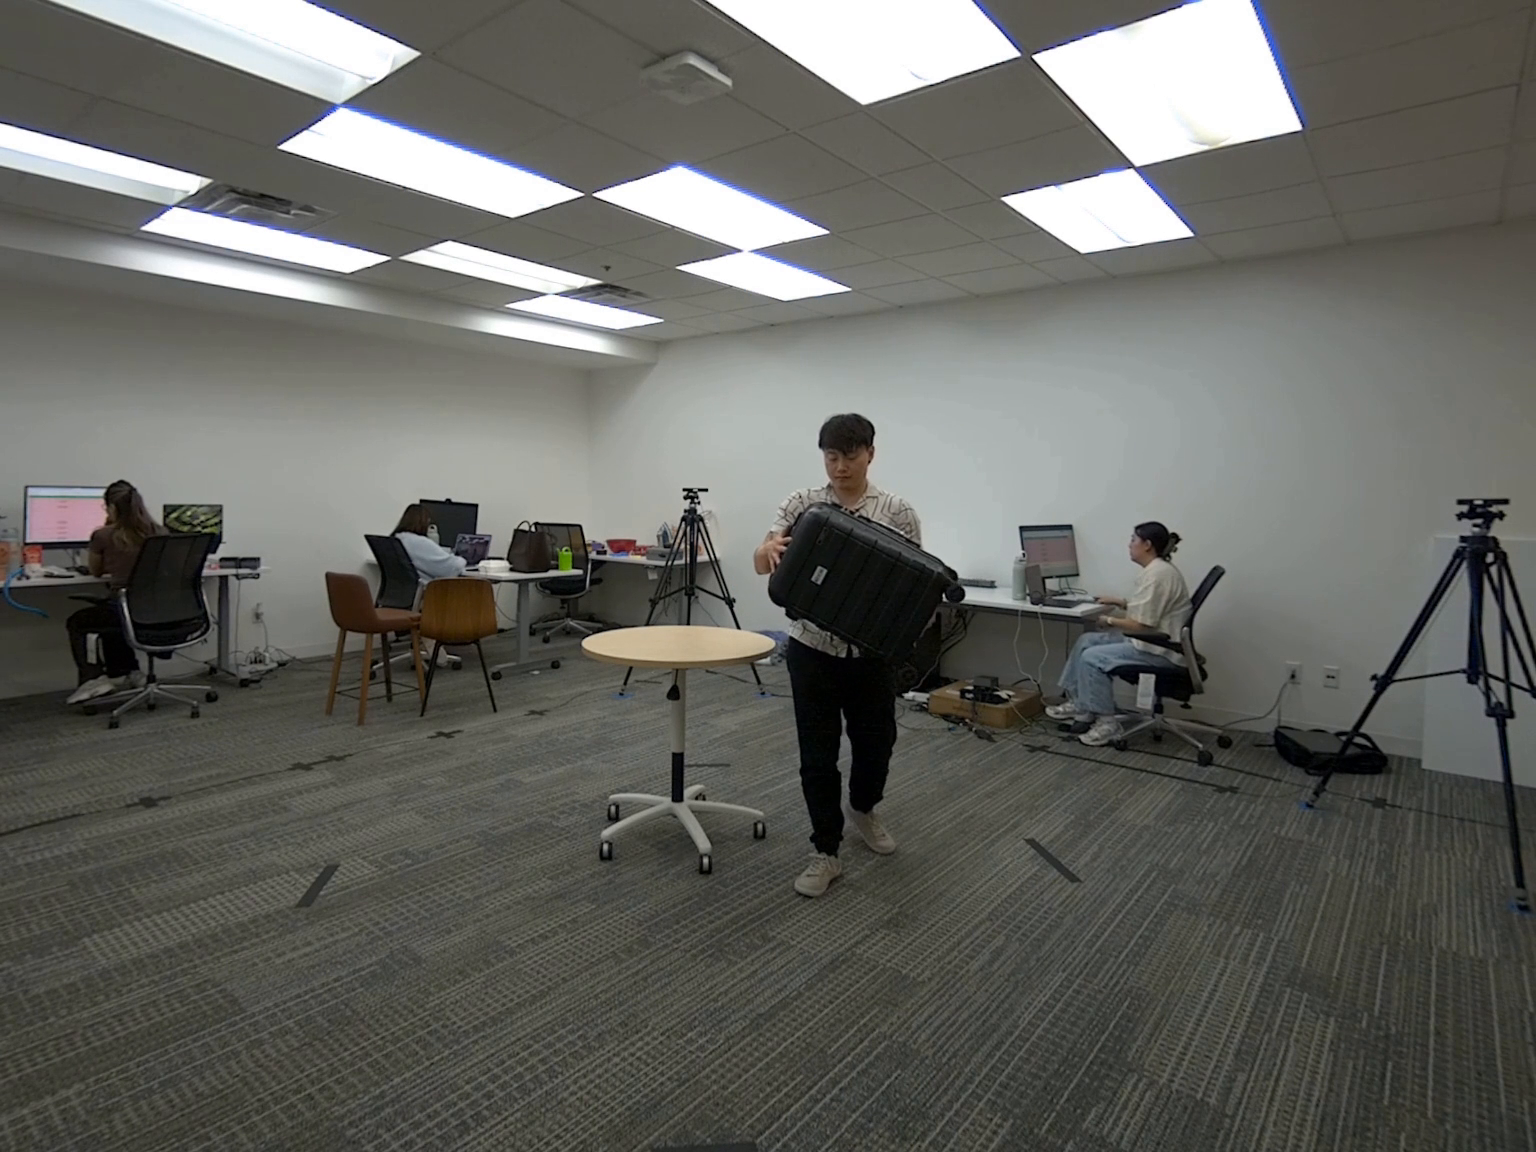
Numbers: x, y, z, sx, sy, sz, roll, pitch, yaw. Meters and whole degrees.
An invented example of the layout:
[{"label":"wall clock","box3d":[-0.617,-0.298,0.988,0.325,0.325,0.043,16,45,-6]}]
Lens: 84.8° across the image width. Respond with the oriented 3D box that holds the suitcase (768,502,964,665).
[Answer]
[{"label":"suitcase","box3d":[0.287,0.013,2.702,0.553,0.373,0.248,29,13,4]}]
